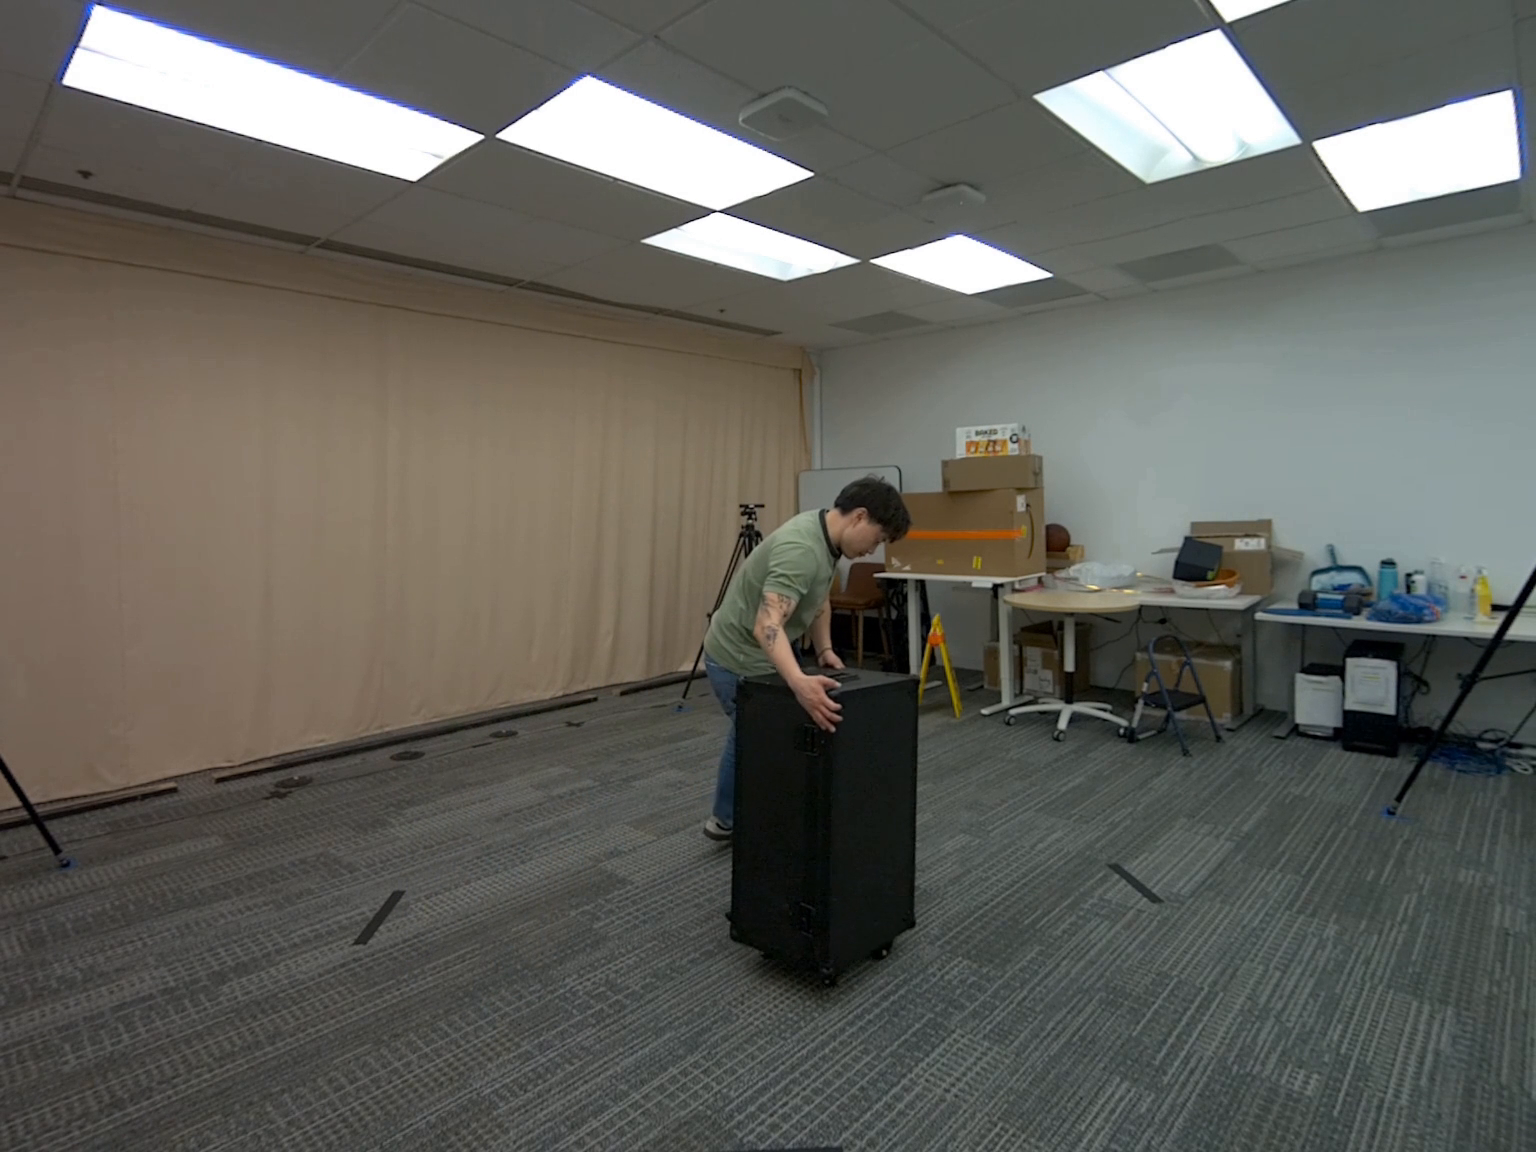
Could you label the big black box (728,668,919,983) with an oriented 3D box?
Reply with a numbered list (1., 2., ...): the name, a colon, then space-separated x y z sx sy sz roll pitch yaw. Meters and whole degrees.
1. big black box: 0.181 0.736 2.587 0.409 0.862 0.504 -1 -2 40
